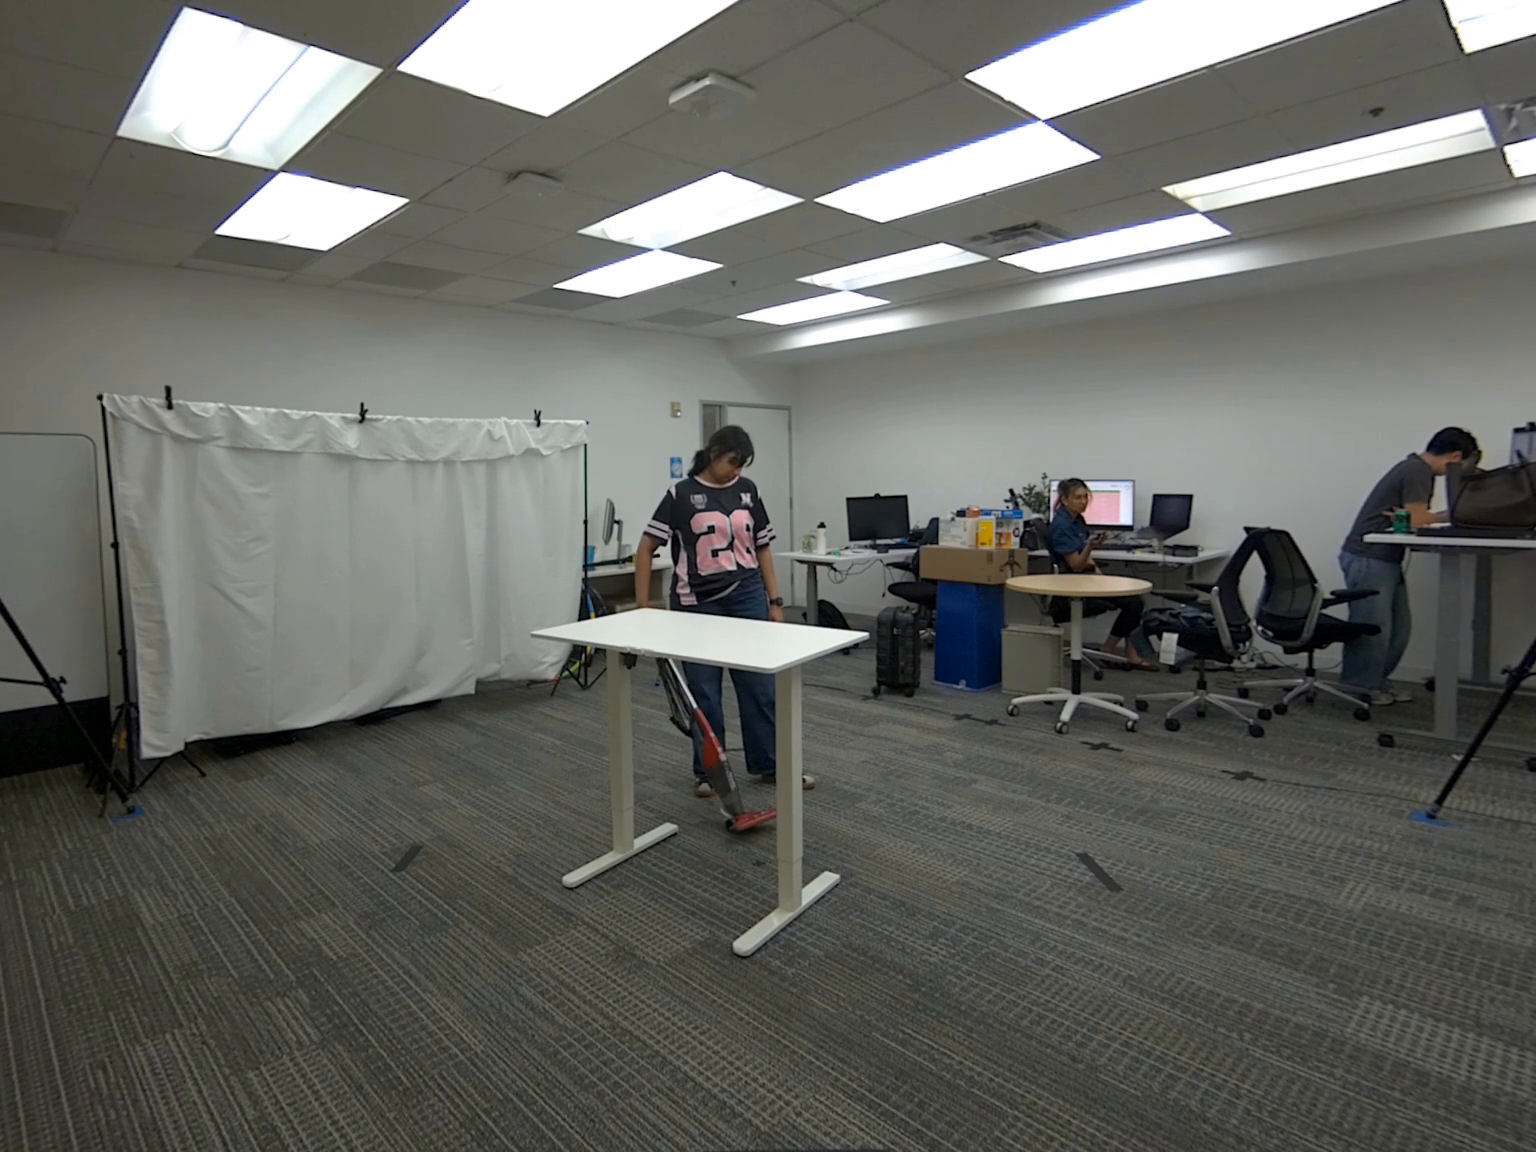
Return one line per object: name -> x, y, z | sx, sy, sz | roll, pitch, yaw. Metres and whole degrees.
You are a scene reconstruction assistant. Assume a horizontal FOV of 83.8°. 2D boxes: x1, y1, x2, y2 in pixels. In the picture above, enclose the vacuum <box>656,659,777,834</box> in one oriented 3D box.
vacuum -> -0.332, 0.588, 3.635 | 0.245, 1.084, 0.143 | 0, -43, -46
